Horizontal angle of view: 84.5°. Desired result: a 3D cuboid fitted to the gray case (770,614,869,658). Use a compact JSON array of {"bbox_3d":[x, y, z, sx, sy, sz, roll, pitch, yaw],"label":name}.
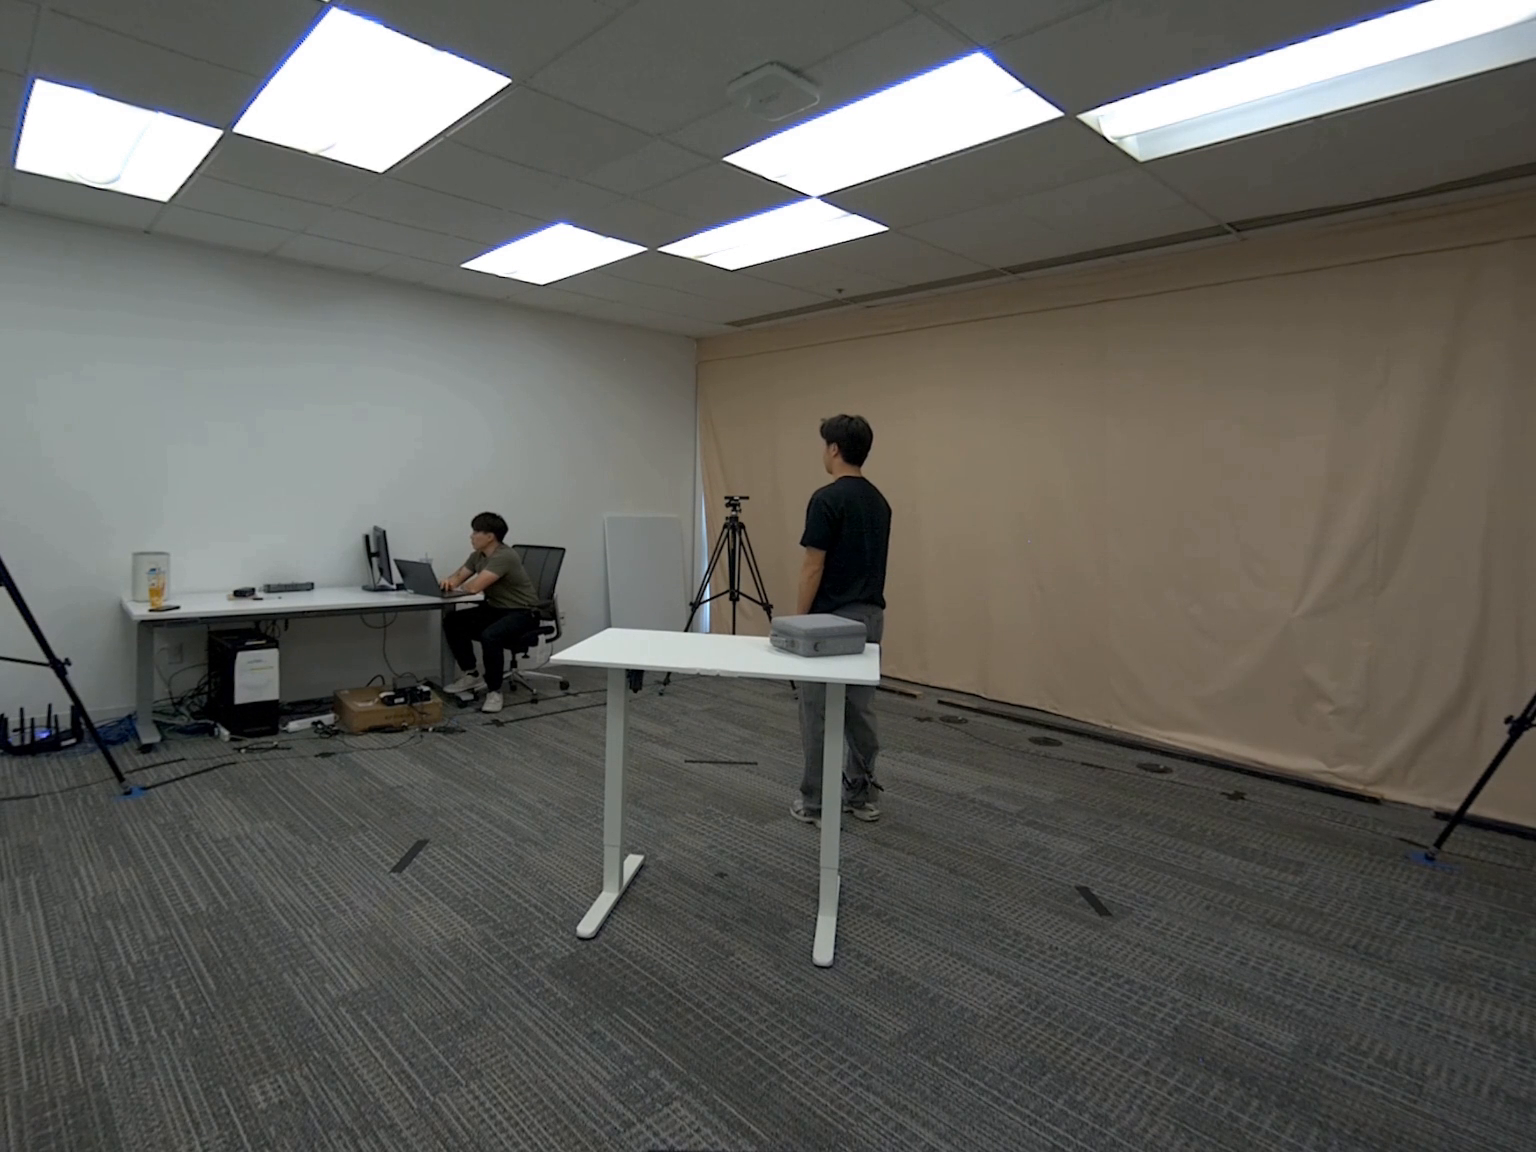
[{"bbox_3d":[0.157,0.192,2.840,0.260,0.103,0.291,0,3,-18],"label":"gray case"}]
